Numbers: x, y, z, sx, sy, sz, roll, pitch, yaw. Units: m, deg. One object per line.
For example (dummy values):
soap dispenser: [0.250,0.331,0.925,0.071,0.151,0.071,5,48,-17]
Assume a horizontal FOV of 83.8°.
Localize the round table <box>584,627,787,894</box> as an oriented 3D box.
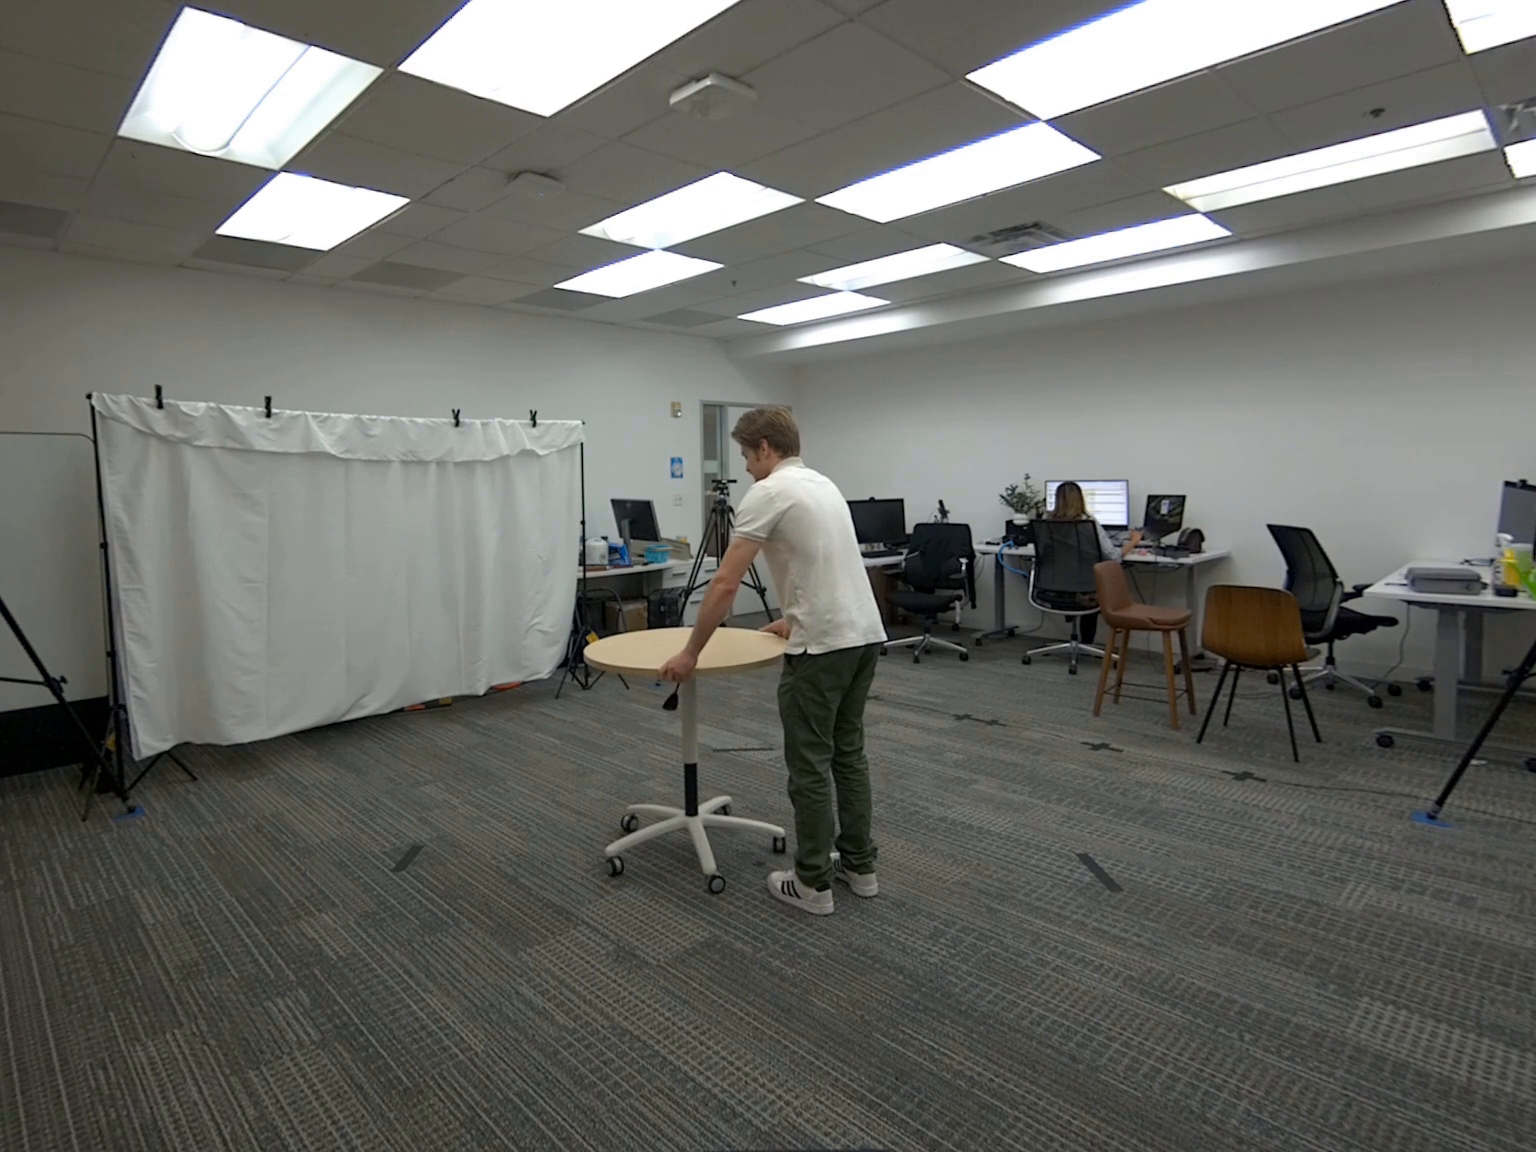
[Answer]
round table: [-0.291,0.651,3.213,0.763,0.791,0.768,-1,5,-2]
